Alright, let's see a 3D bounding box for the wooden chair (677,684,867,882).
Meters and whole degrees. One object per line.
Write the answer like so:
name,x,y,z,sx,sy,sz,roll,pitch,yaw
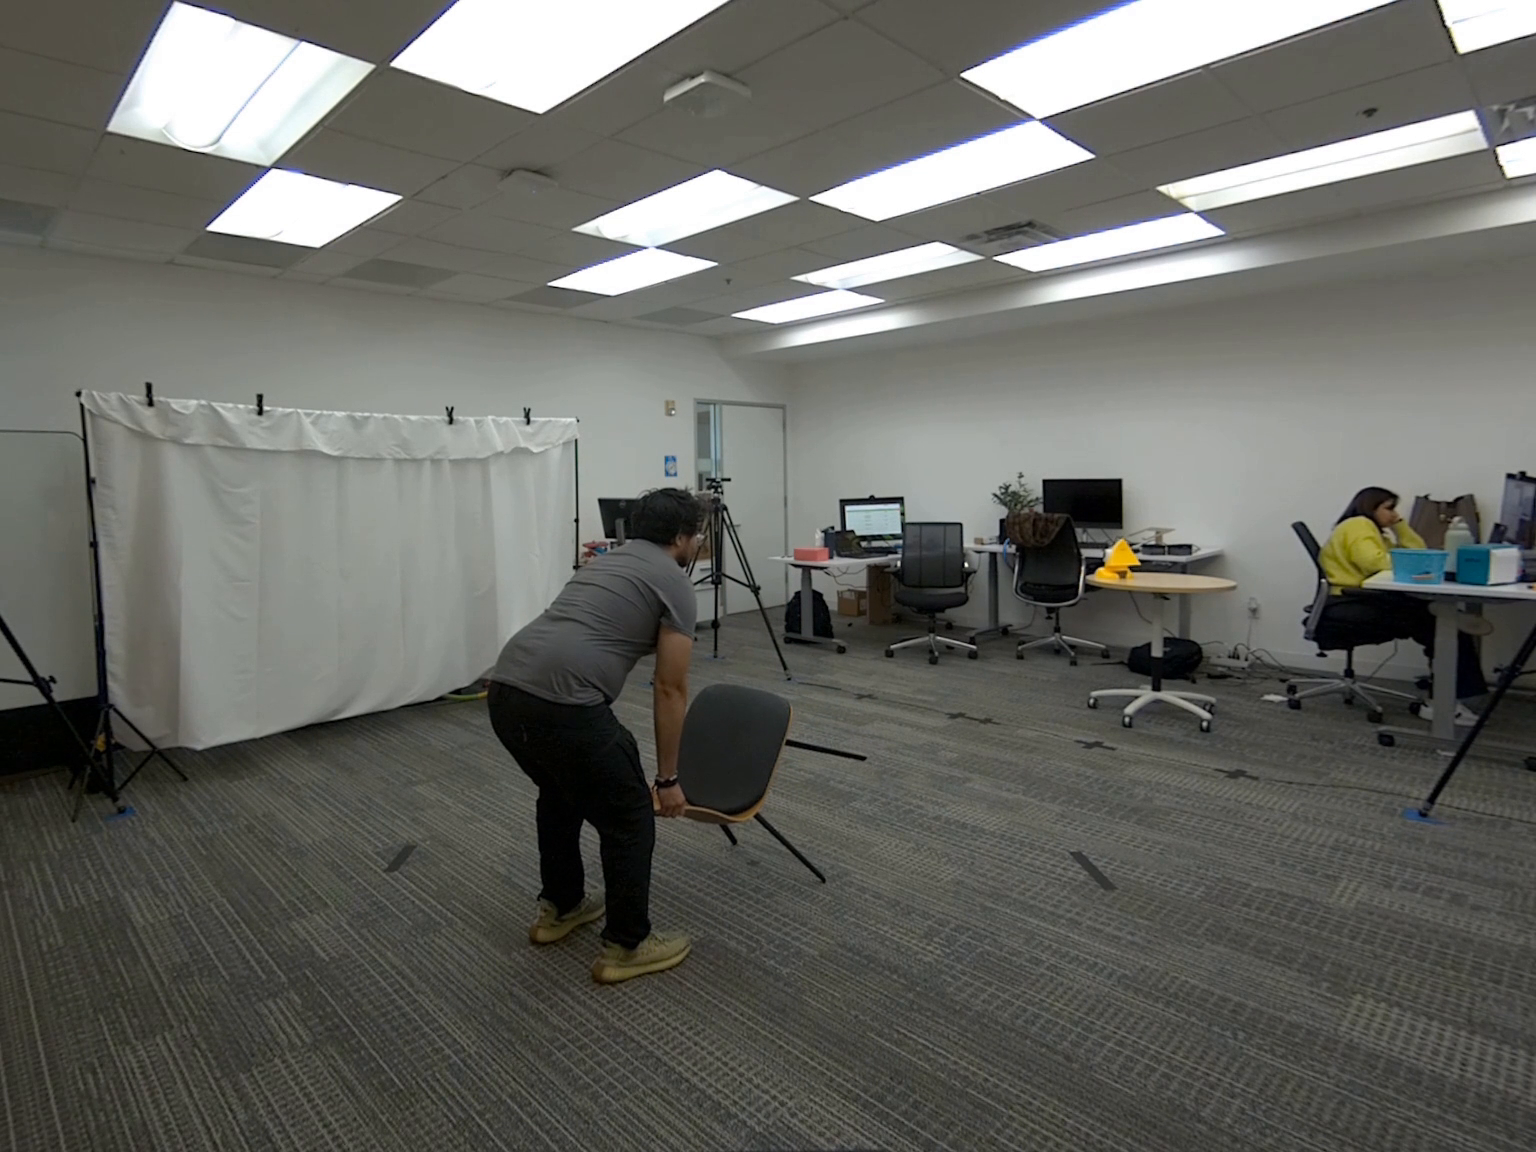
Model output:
wooden chair,-0.125,0.638,2.917,0.493,0.527,0.843,4,-21,43
